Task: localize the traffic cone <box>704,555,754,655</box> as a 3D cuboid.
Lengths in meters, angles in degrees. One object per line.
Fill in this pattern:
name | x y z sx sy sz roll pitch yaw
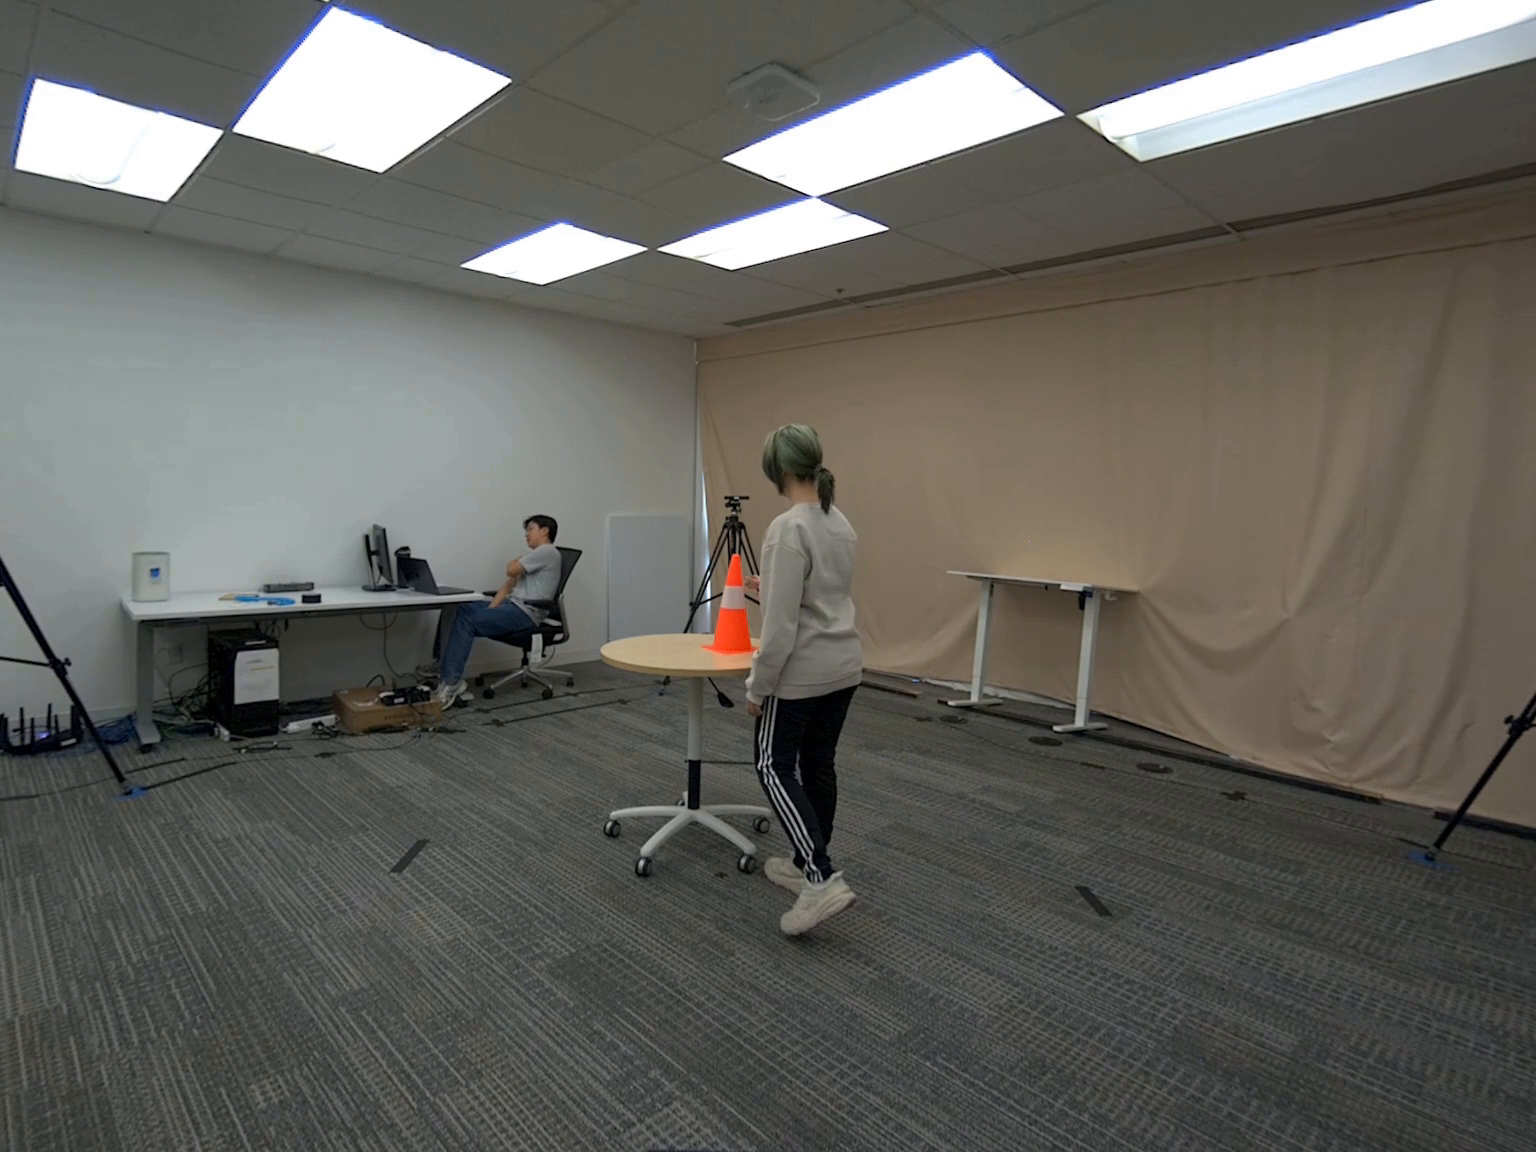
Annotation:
traffic cone | -0.141 0.107 3.391 0.200 0.383 0.208 -1 4 -44
